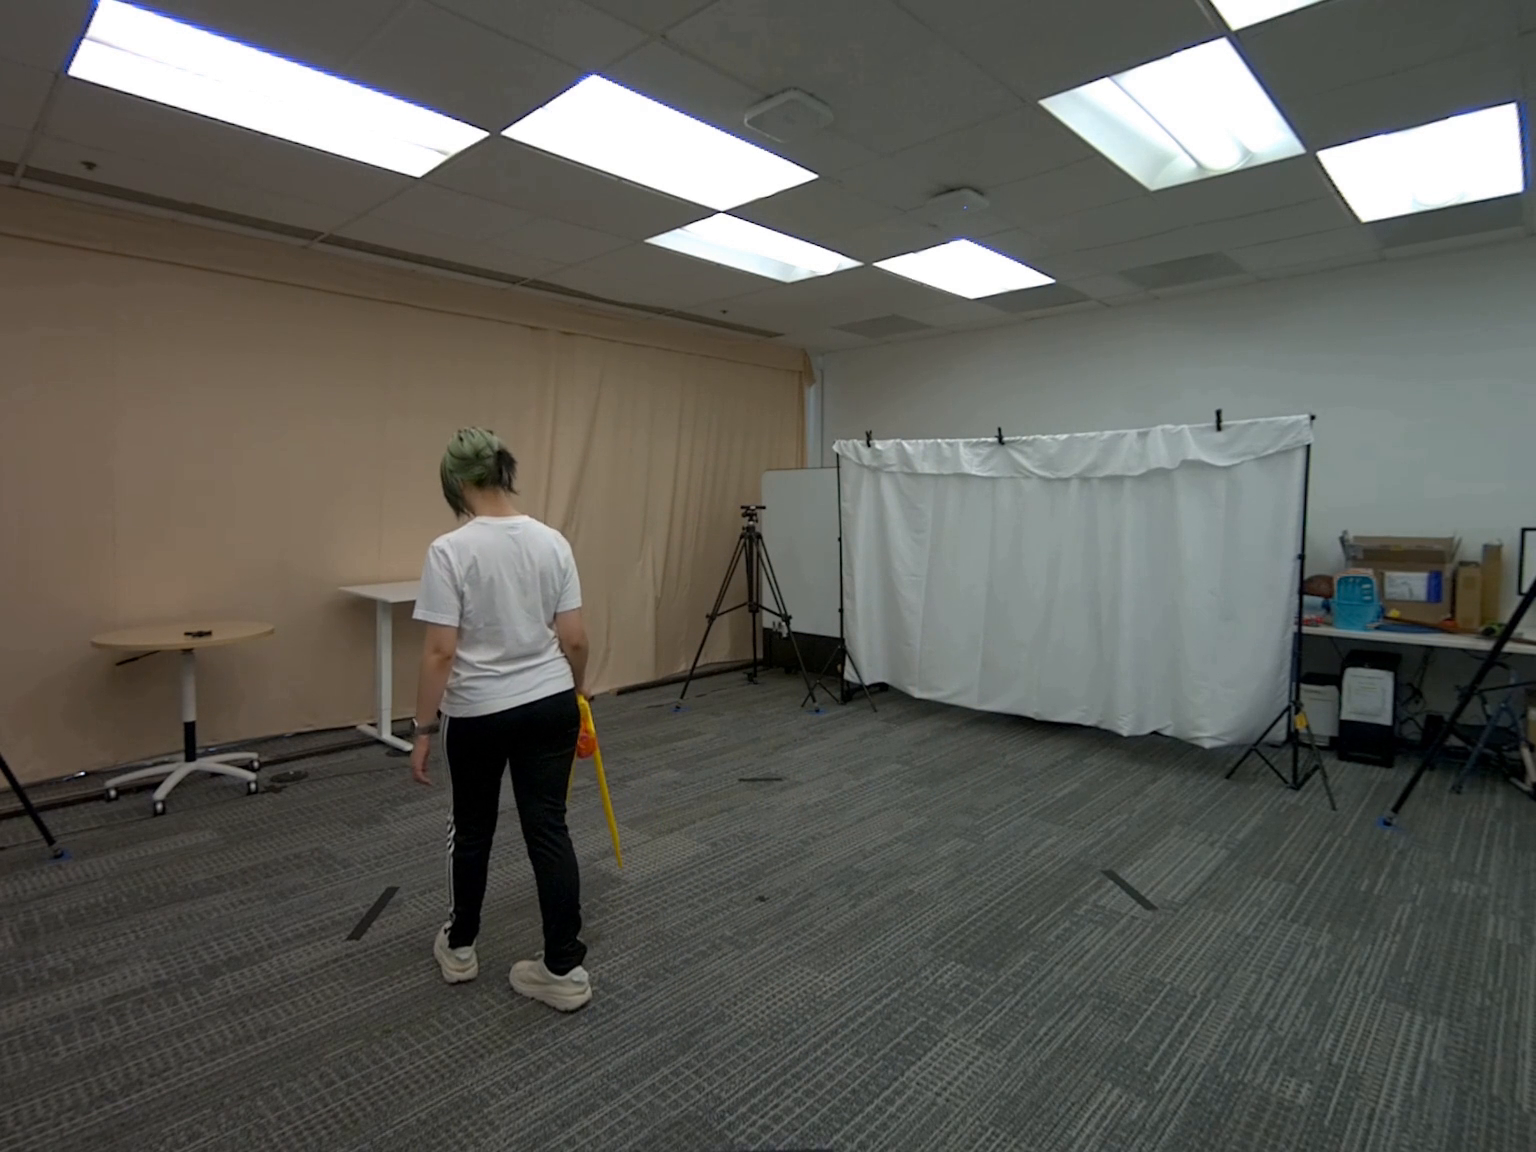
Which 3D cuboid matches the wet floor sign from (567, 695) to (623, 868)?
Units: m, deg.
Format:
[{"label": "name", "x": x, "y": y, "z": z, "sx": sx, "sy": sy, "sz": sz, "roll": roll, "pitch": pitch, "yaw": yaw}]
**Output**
[{"label": "wet floor sign", "x": -0.635, "y": 0.653, "z": 2.815, "sx": 0.285, "sy": 0.639, "sz": 0.290, "roll": -1, "pitch": 21, "yaw": -18}]
